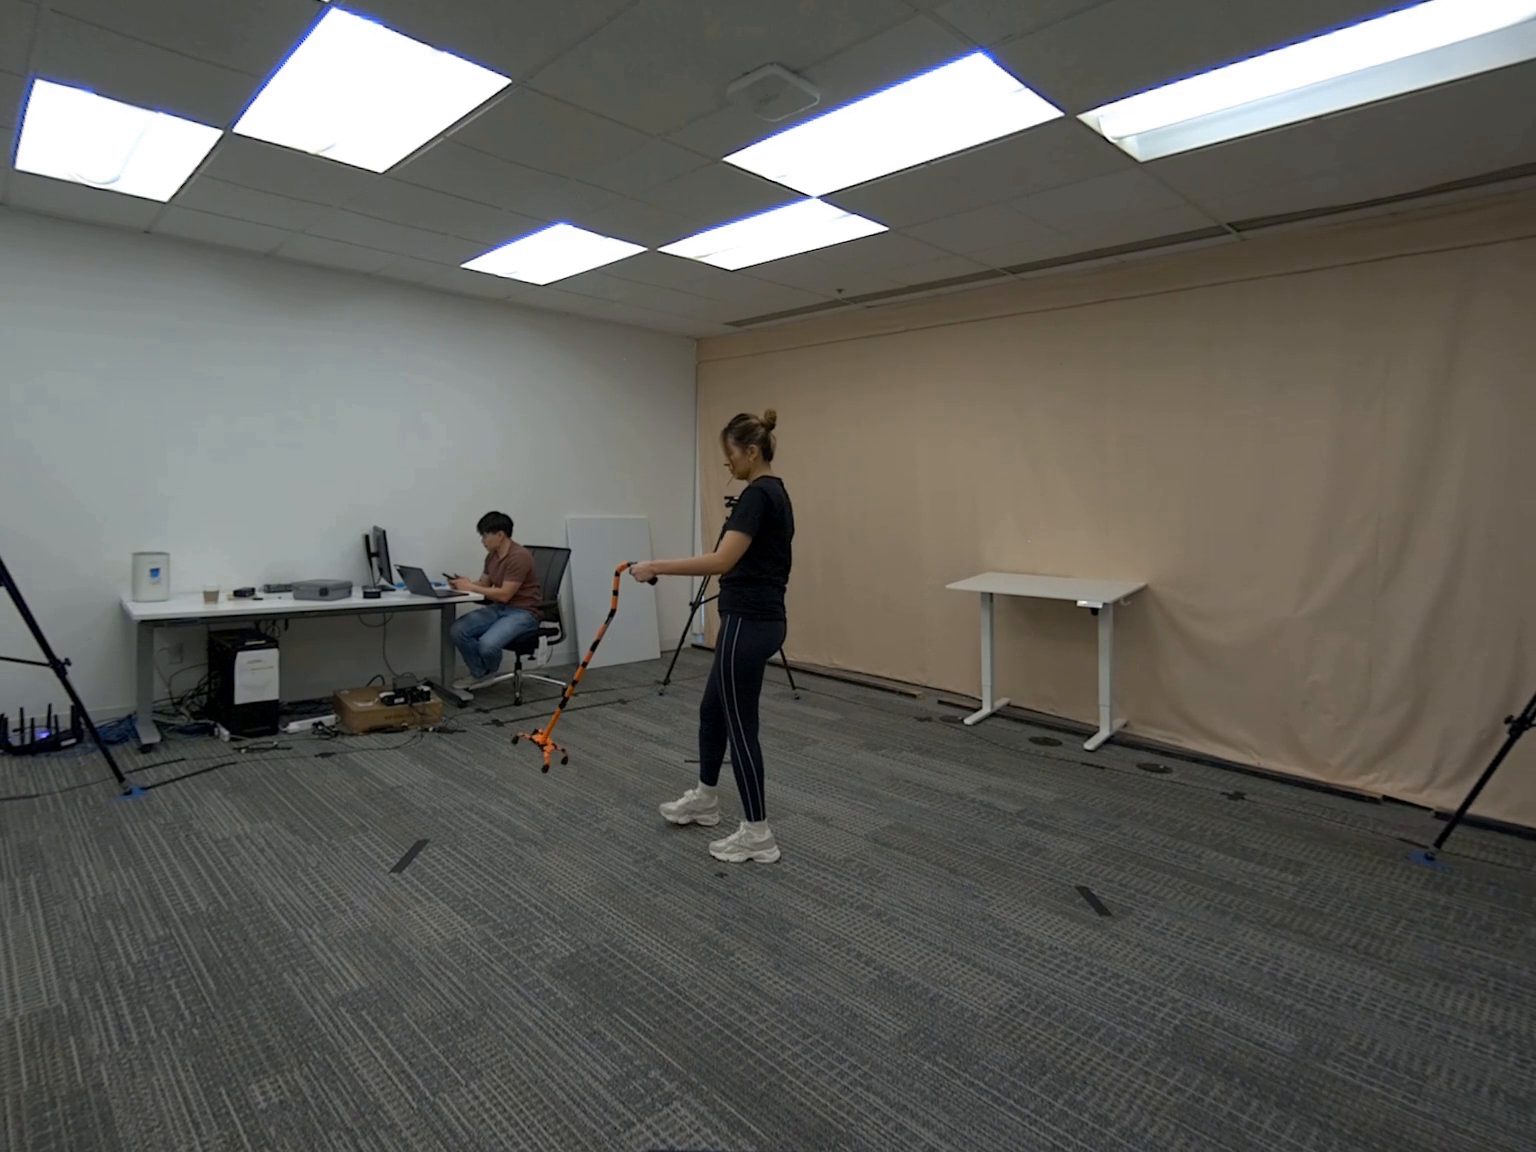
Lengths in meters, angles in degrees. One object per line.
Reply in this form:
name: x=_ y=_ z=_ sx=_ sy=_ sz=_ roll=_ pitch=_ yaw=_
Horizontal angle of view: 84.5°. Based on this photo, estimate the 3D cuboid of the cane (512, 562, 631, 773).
cane: x=-0.696 y=0.349 z=3.243 sx=0.211 sy=0.904 sz=0.149 roll=34 pitch=16 yaw=21
